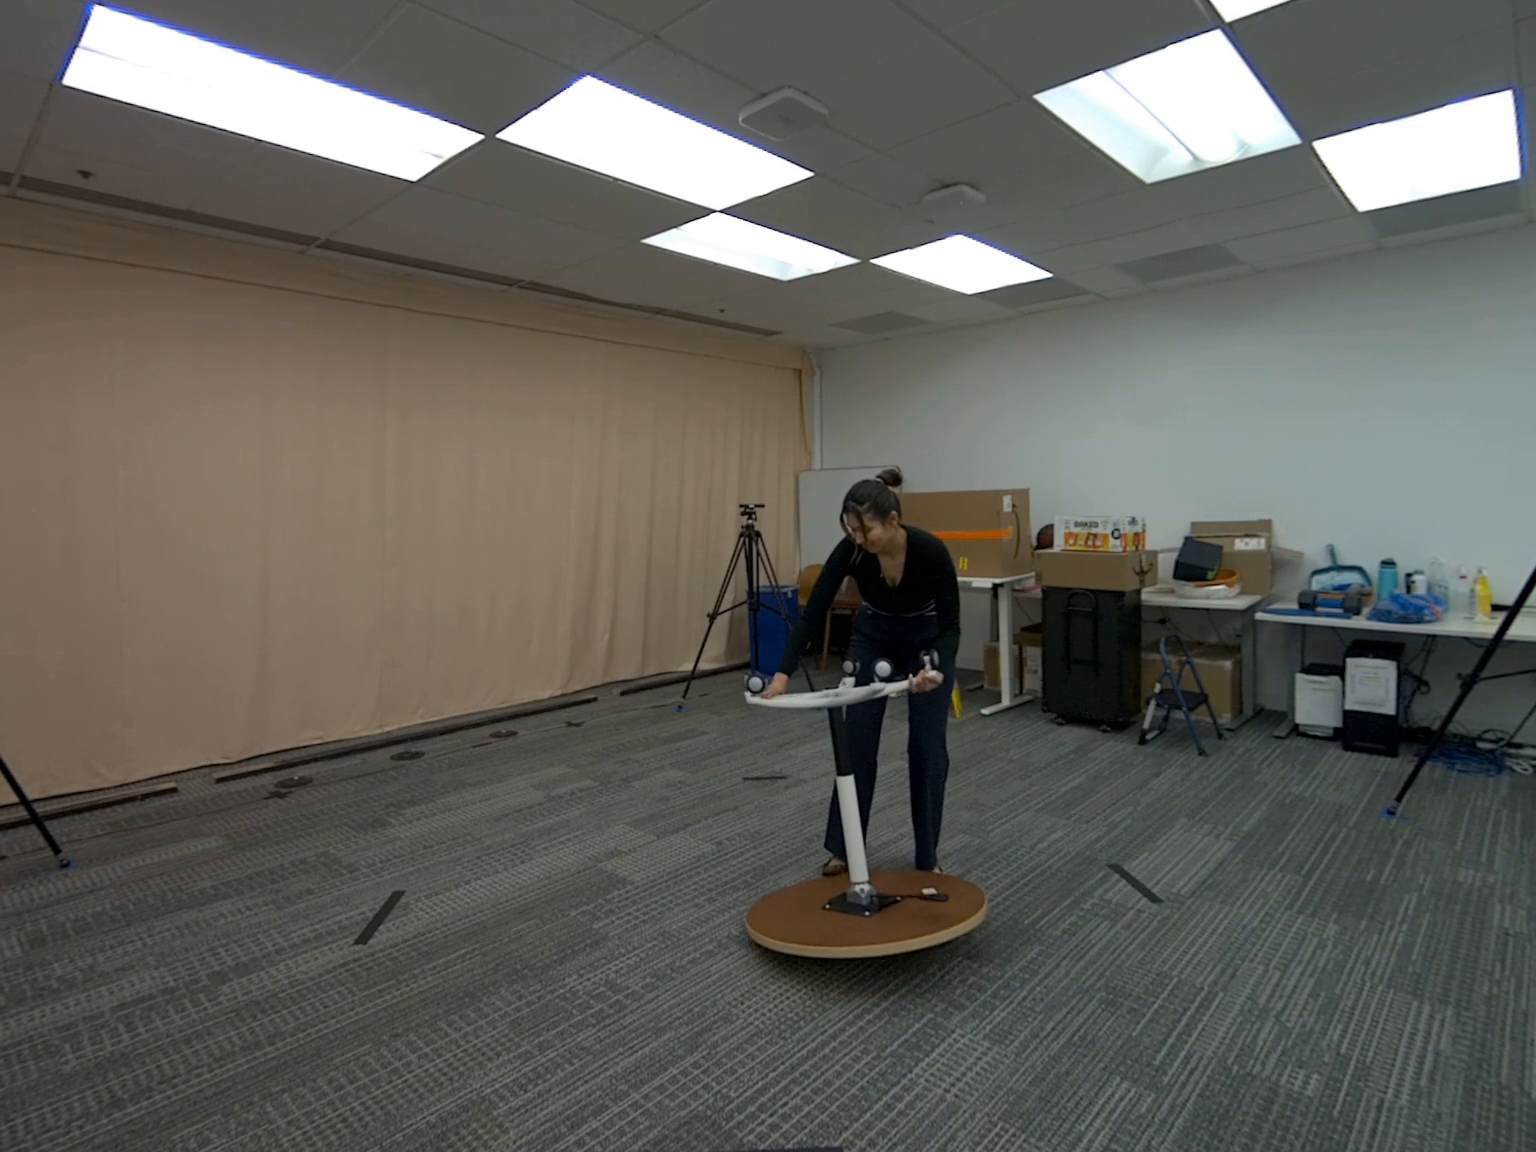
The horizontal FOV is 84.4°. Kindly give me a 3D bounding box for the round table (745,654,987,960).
[{"bbox_3d":[0.259,0.693,2.745,0.763,0.798,0.762,-7,-6,-3],"label":"round table"}]
